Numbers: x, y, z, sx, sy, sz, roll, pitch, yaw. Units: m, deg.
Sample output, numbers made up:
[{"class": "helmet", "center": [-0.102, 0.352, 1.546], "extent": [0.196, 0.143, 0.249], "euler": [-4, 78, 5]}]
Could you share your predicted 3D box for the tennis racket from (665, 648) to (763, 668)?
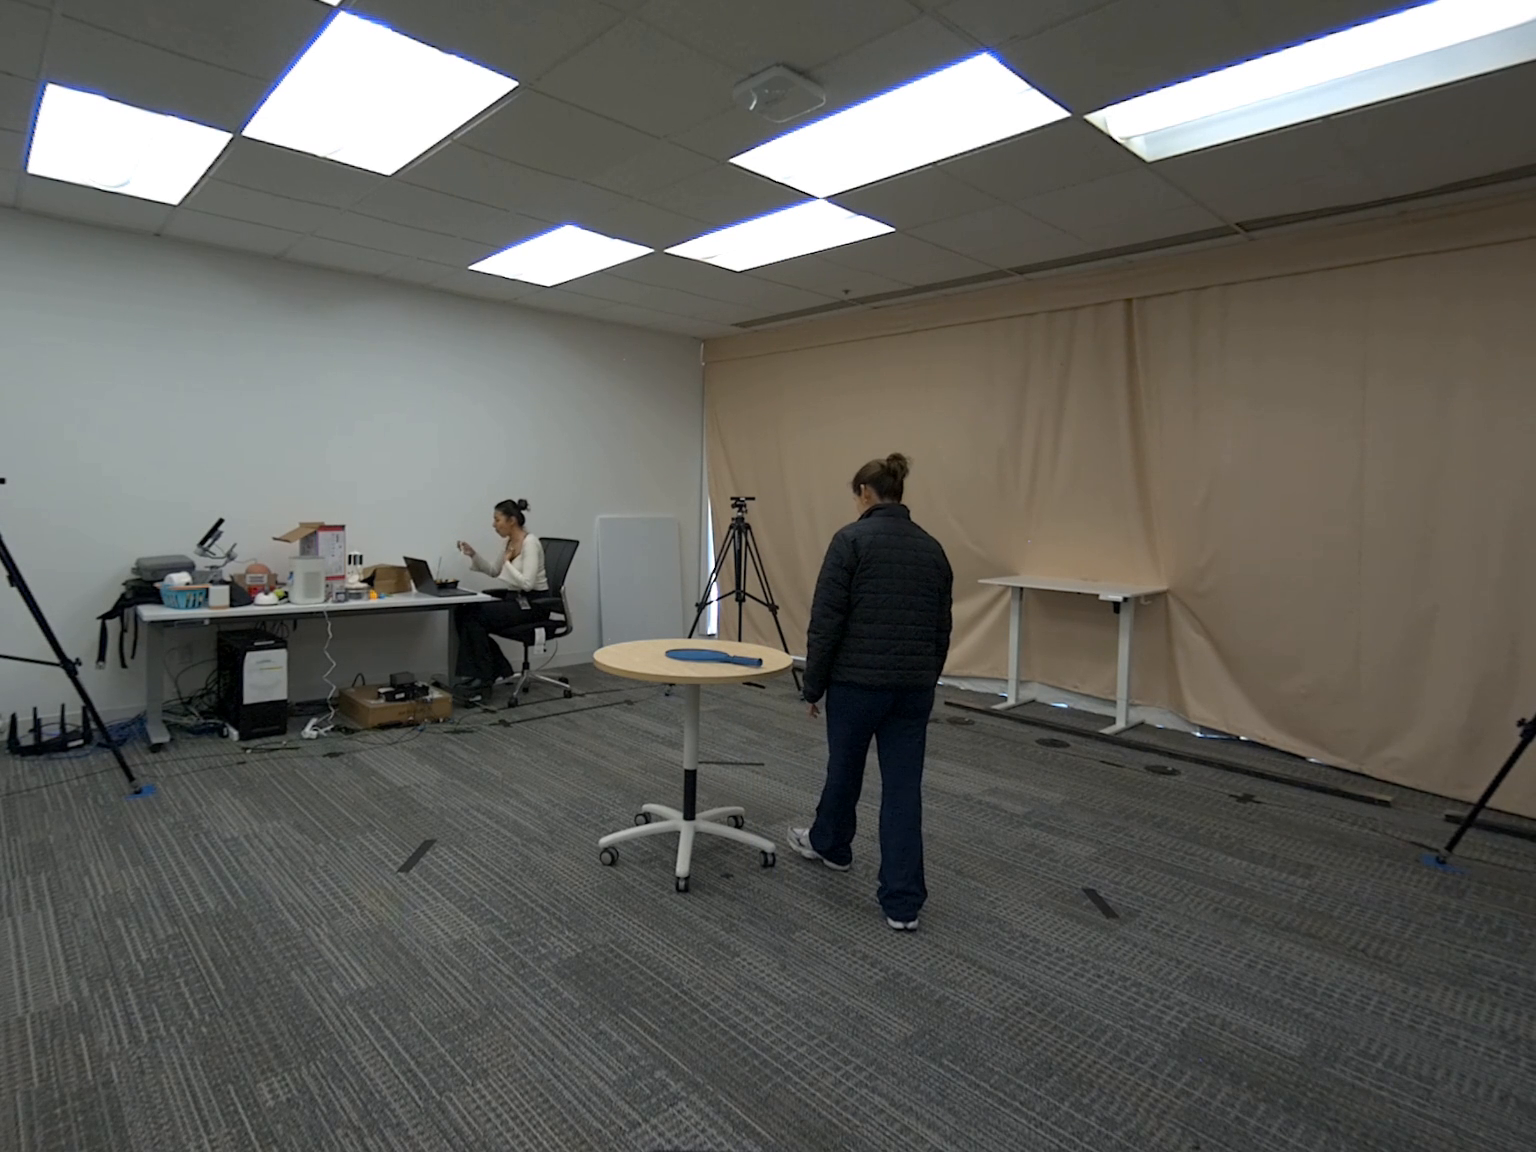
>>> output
[{"class": "tennis racket", "center": [-0.205, 0.309, 3.157], "extent": [0.443, 0.032, 0.209], "euler": [3, 6, 39]}]
